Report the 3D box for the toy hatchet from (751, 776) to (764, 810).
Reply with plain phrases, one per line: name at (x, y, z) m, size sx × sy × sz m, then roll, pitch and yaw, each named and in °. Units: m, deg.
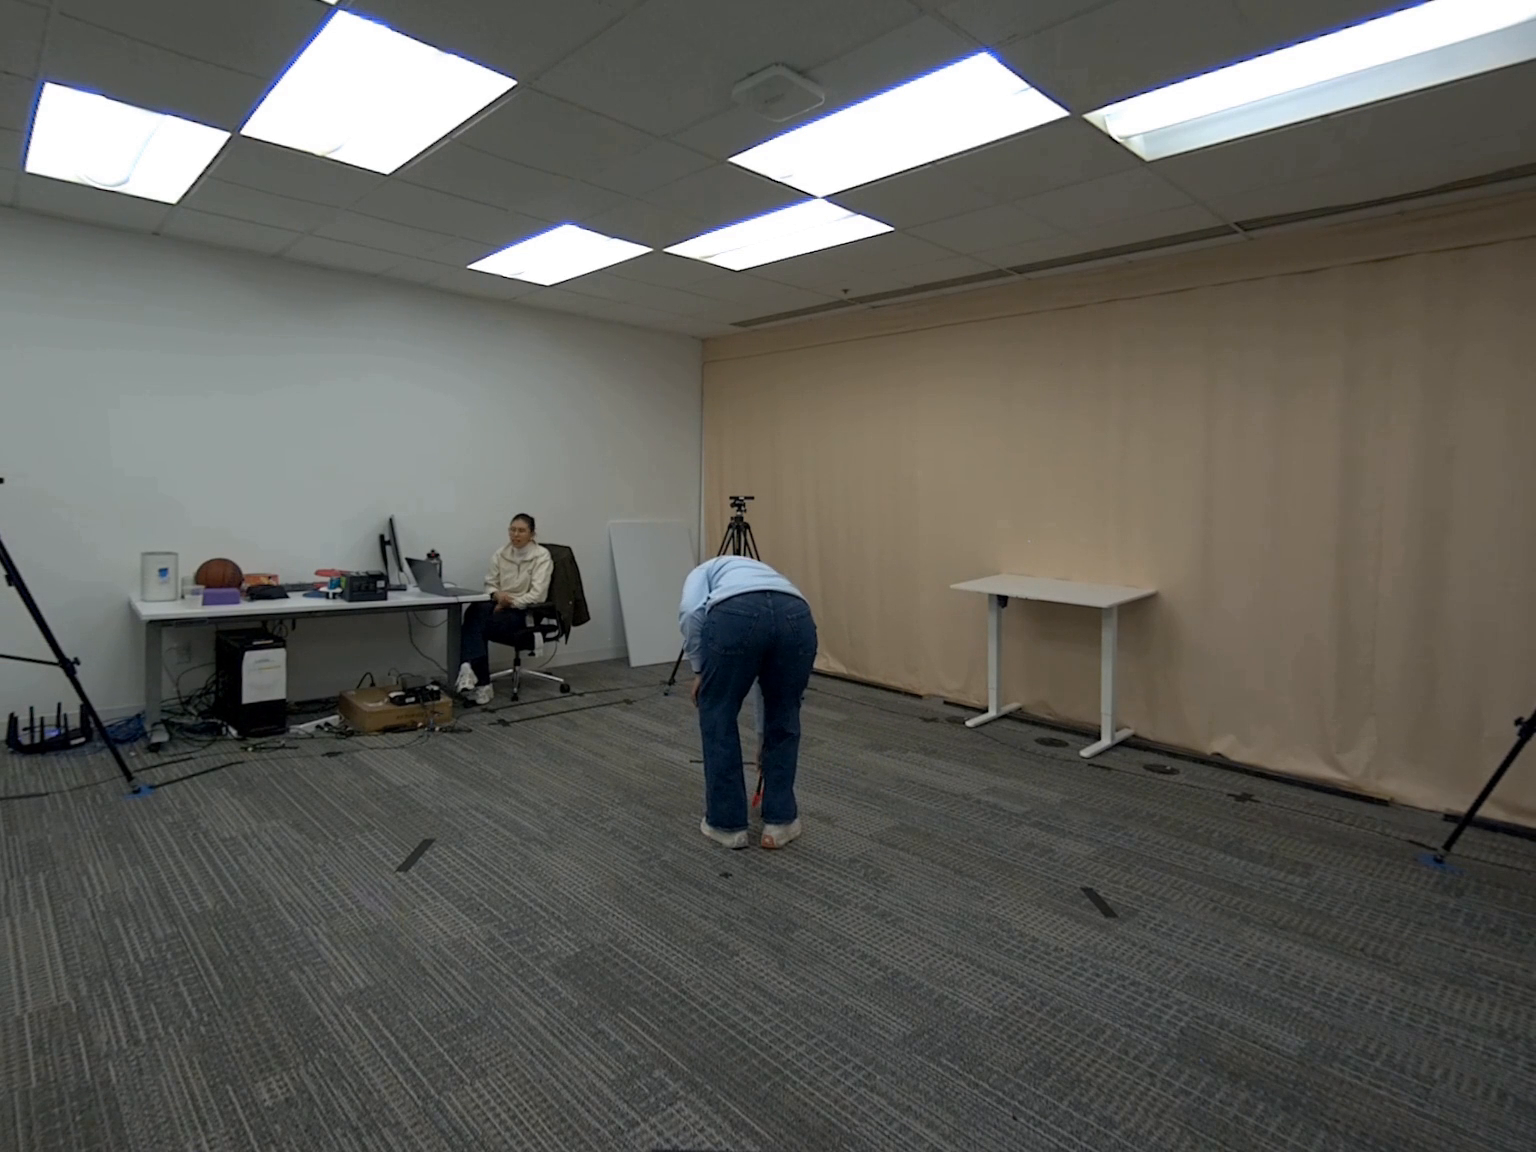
toy hatchet at (-0.054, 0.916, 3.714) m, size 0.030 × 0.264 × 0.132 m, roll 10°, pitch 41°, yaw 11°
